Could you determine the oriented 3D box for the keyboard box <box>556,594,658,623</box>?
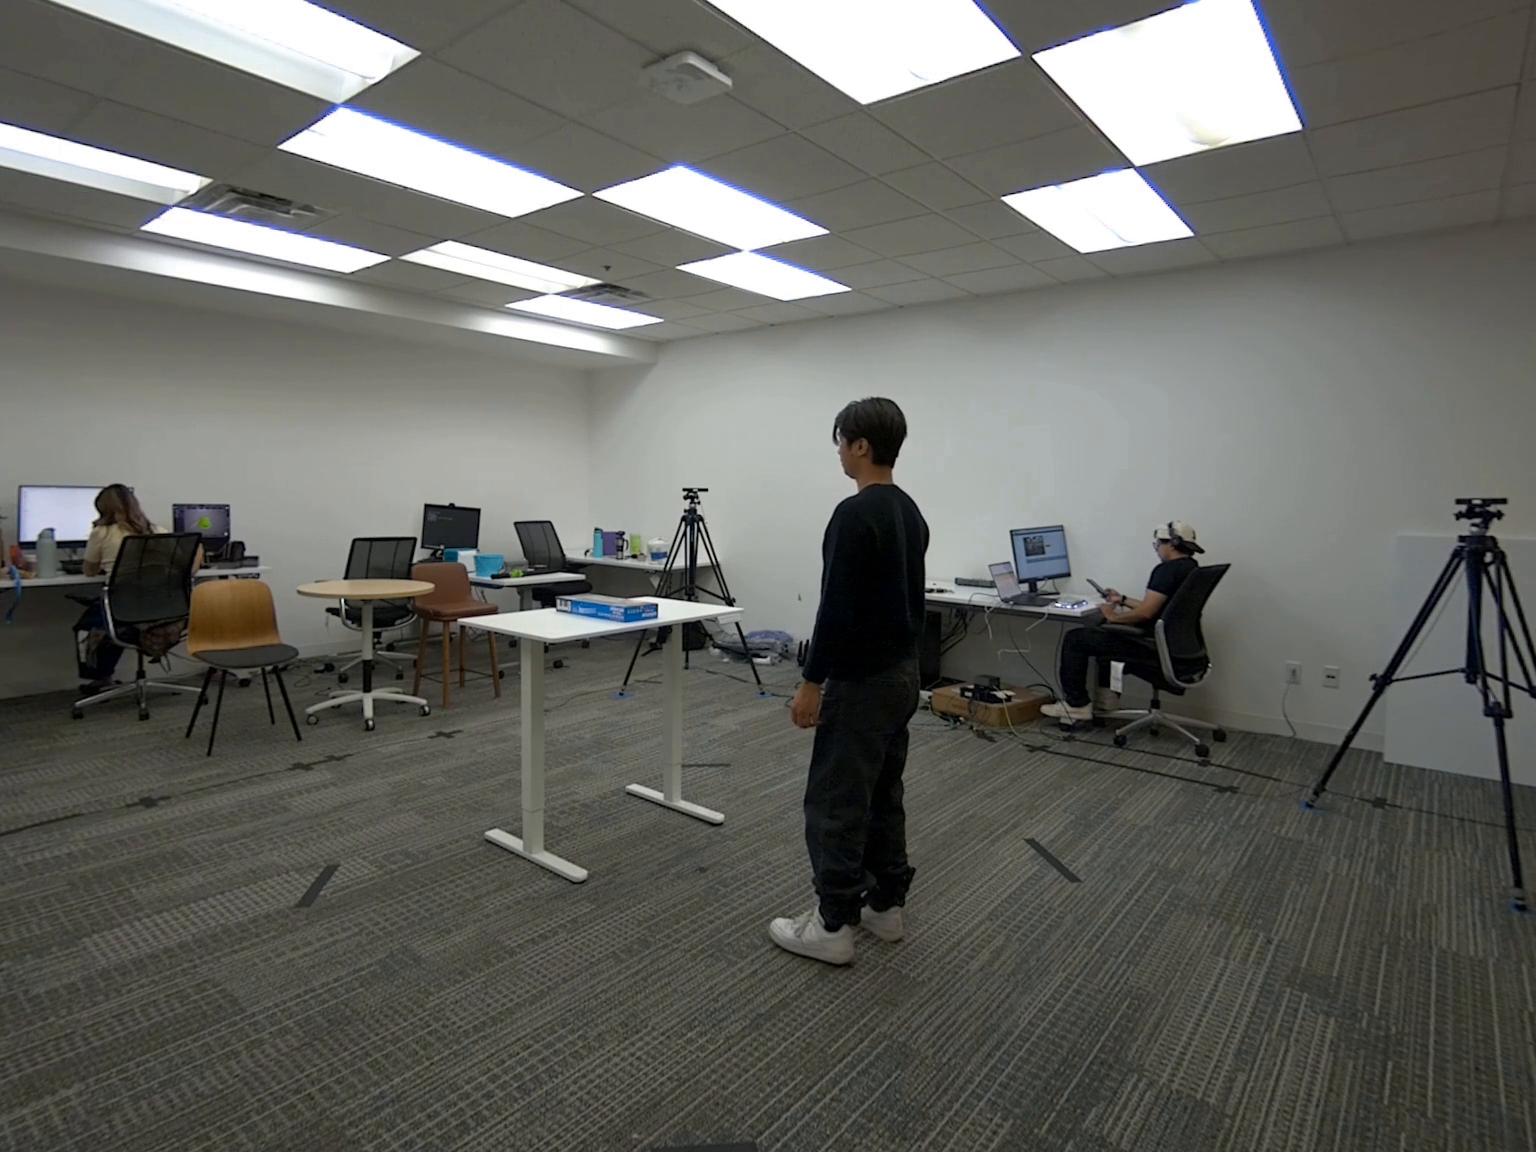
[{"bbox_3d":[-0.664,0.123,3.399,0.452,0.059,0.171,6,7,42],"label":"keyboard box"}]
